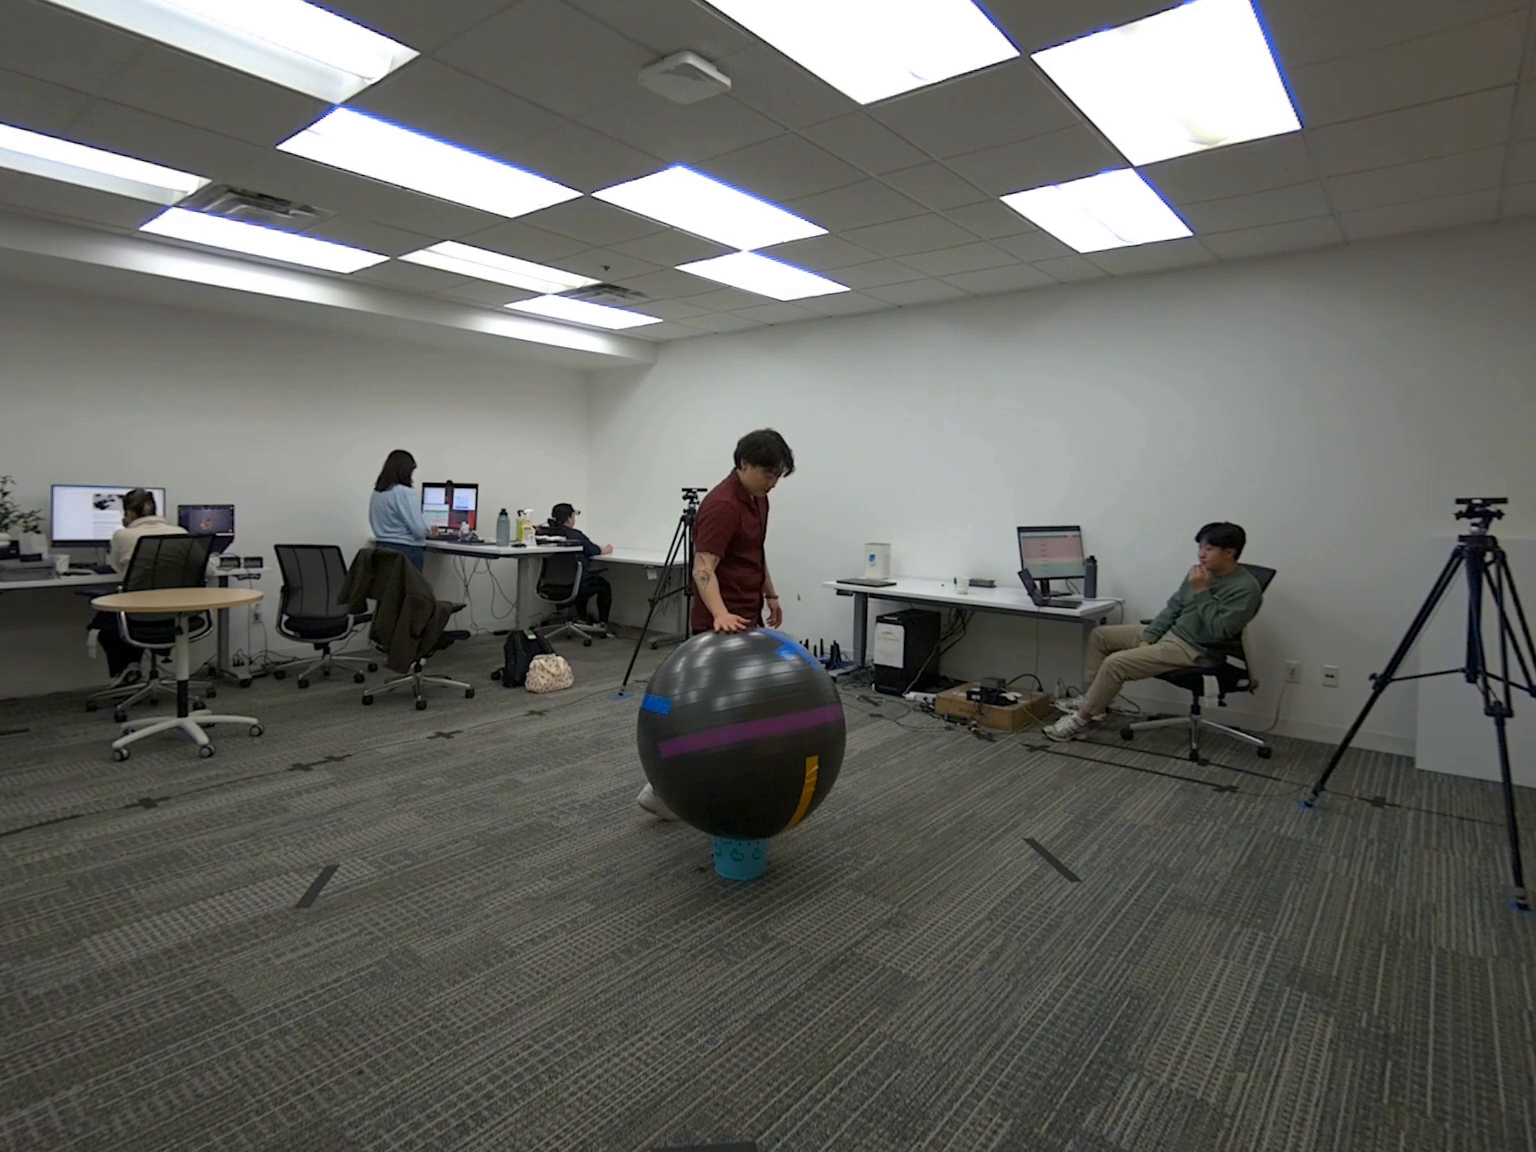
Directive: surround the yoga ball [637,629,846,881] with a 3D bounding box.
[{"bbox_3d":[-0.108,0.565,3.099,0.757,0.755,0.762,1,4,-2],"label":"yoga ball"}]
